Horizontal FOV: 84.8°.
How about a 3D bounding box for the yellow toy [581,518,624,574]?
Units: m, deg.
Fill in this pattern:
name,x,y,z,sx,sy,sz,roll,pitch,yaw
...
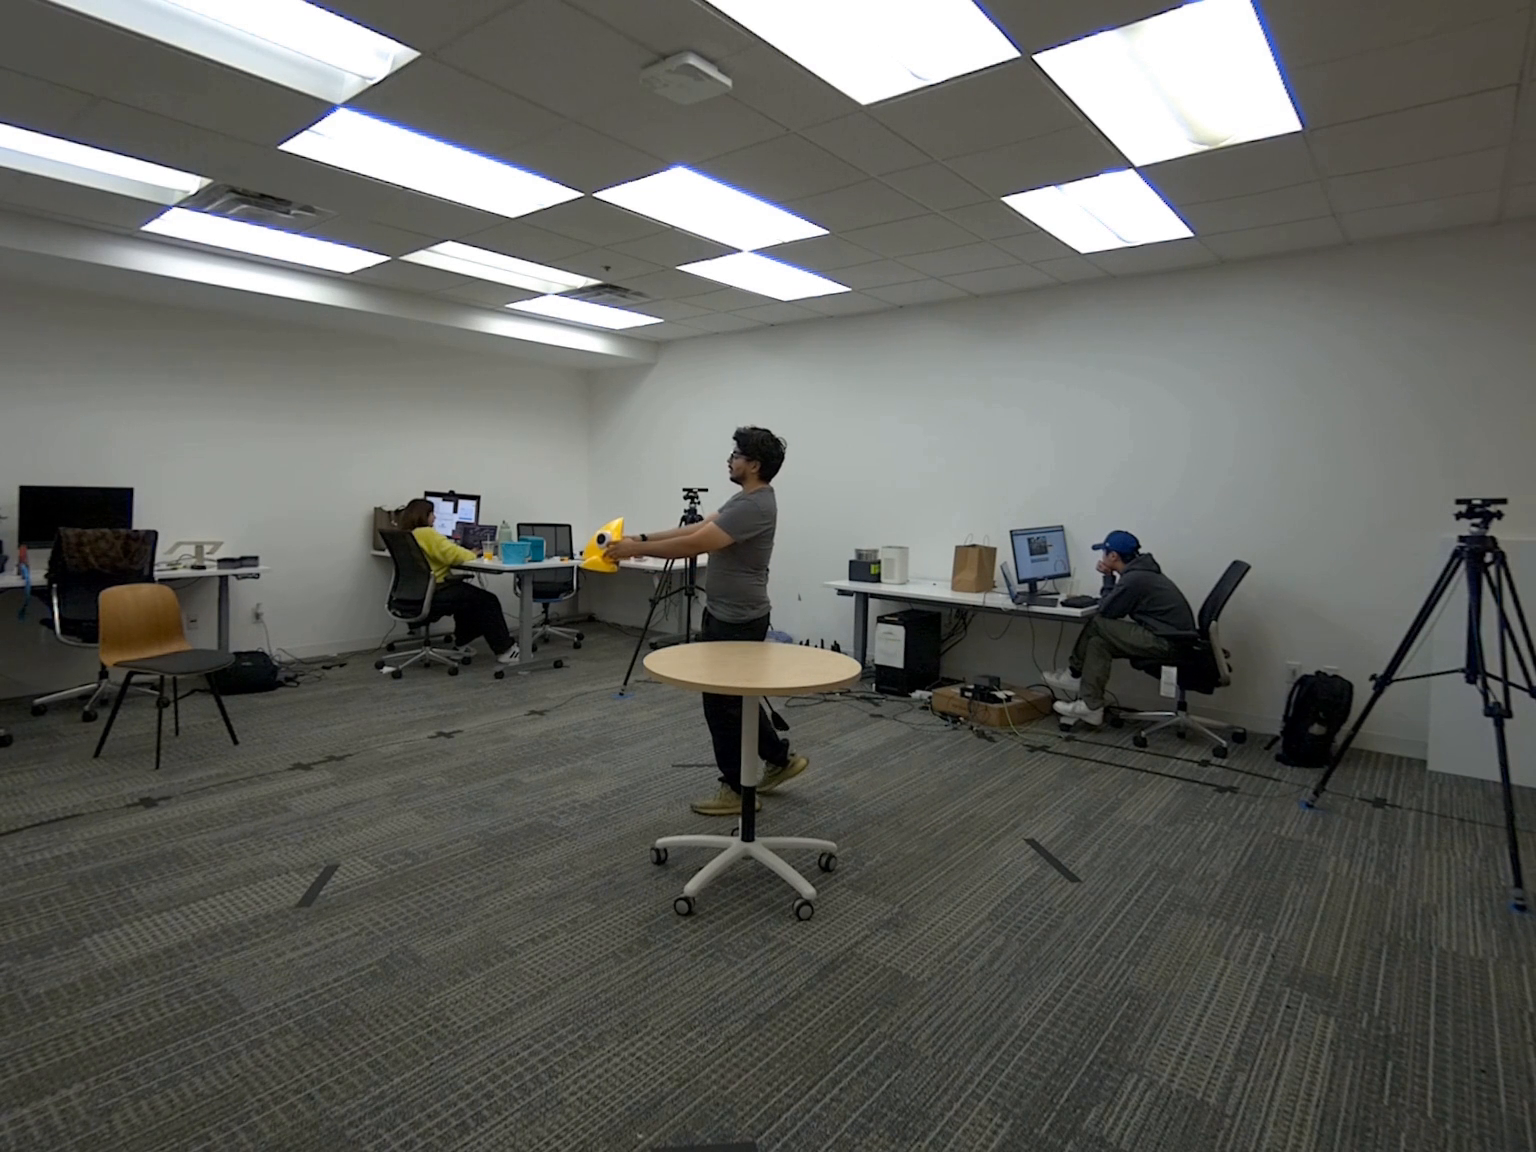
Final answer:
name,x,y,z,sx,sy,sz,roll,pitch,yaw
yellow toy,-0.718,-0.152,3.694,0.193,0.230,0.206,8,5,-1
